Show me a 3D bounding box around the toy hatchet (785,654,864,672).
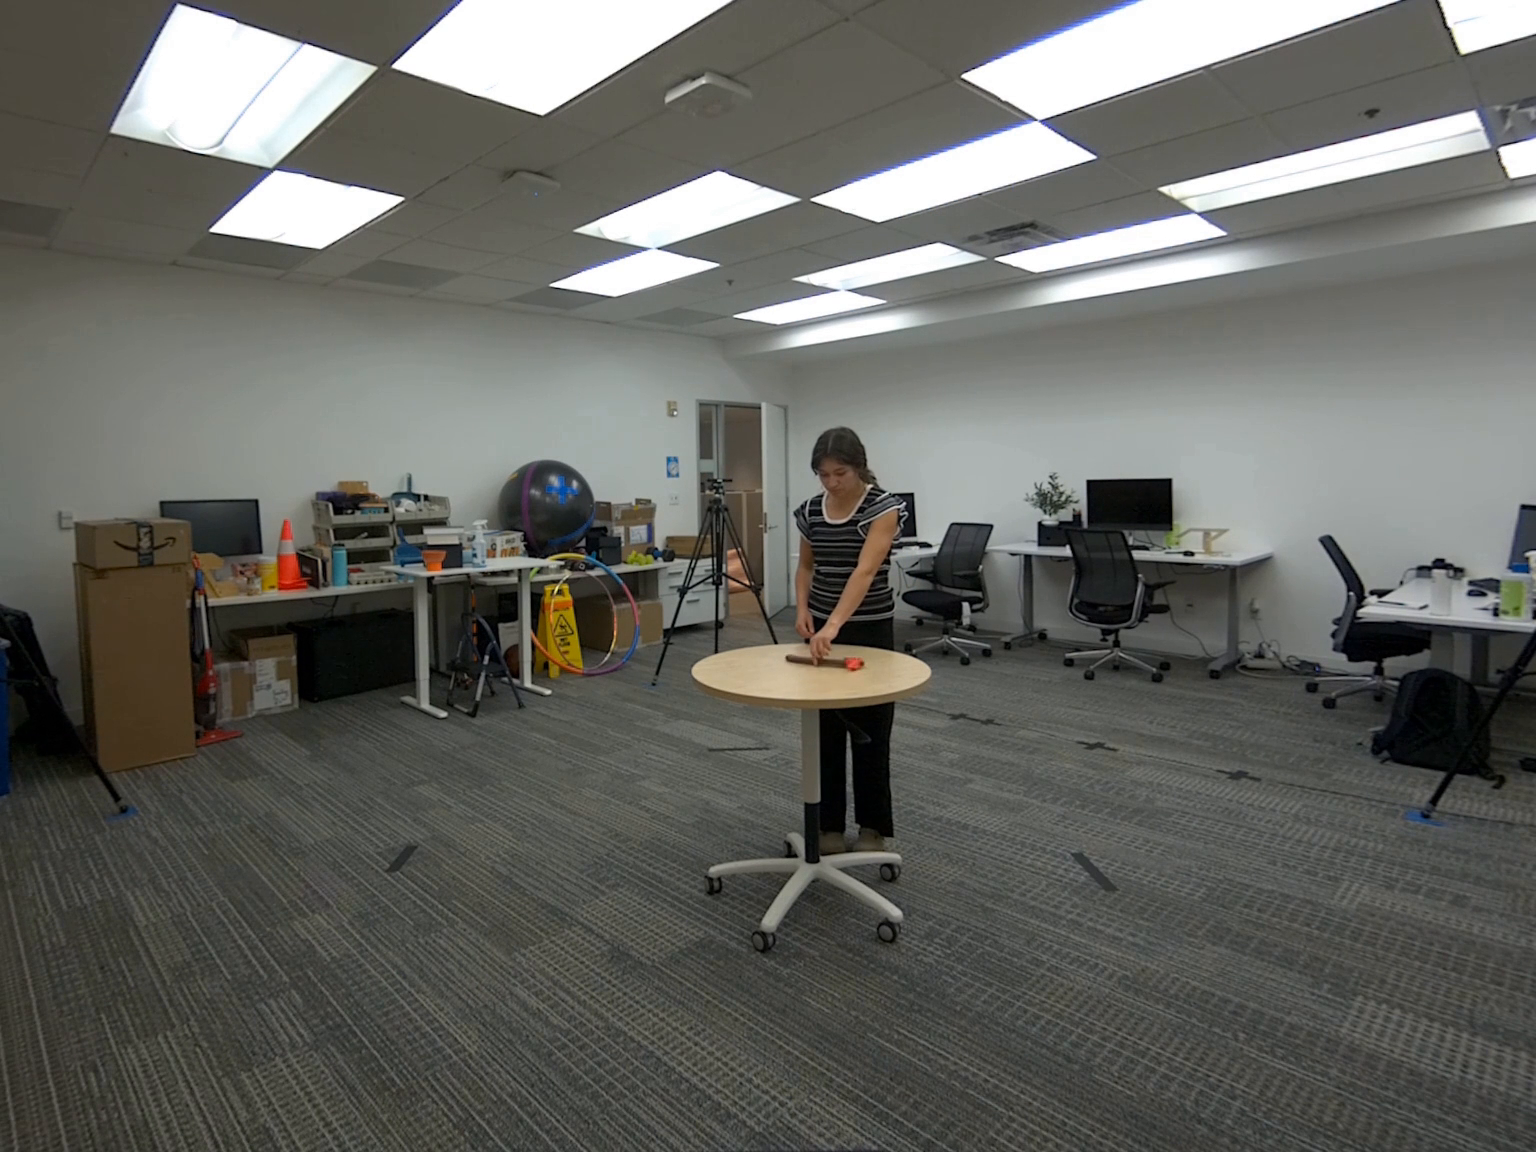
[{"bbox_3d":[0.191,0.280,2.820,0.278,0.029,0.128,4,8,44],"label":"toy hatchet"}]
